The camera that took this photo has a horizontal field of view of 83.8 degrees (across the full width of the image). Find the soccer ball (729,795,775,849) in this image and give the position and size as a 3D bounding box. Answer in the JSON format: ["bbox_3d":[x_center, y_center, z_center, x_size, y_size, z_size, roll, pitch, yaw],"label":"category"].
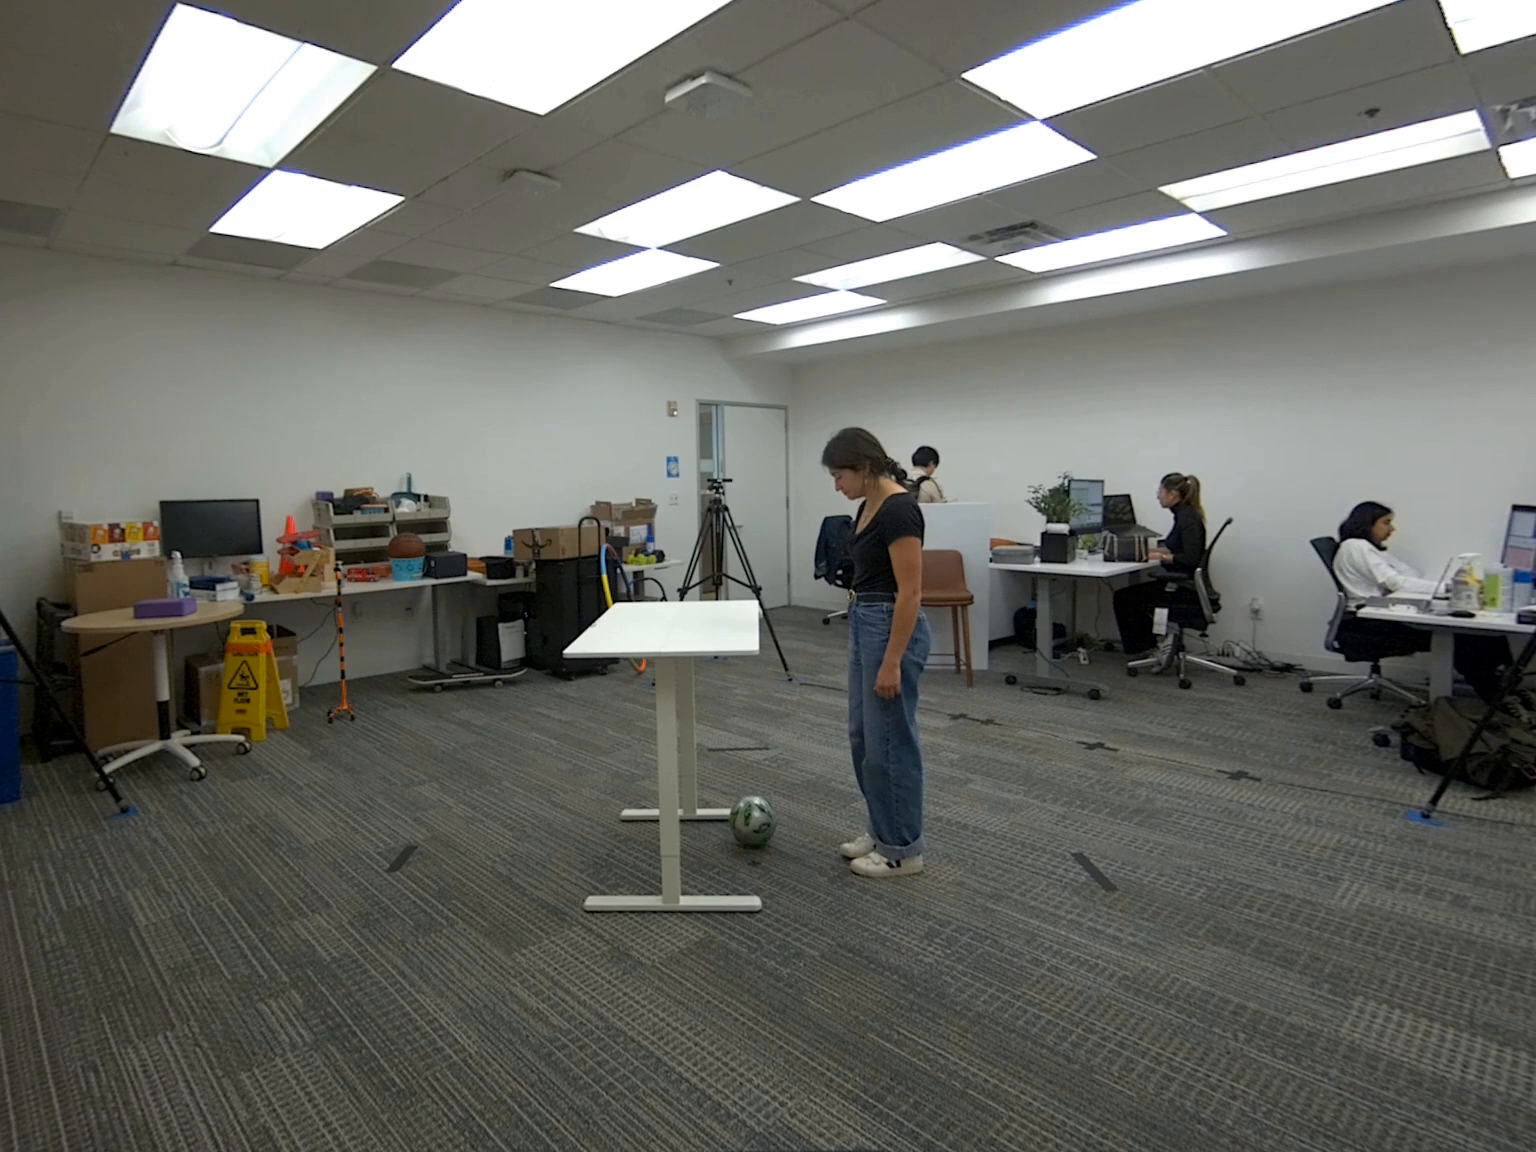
[{"bbox_3d":[-0.053,0.939,3.278,0.187,0.187,0.188,-1,5,-2],"label":"soccer ball"}]
